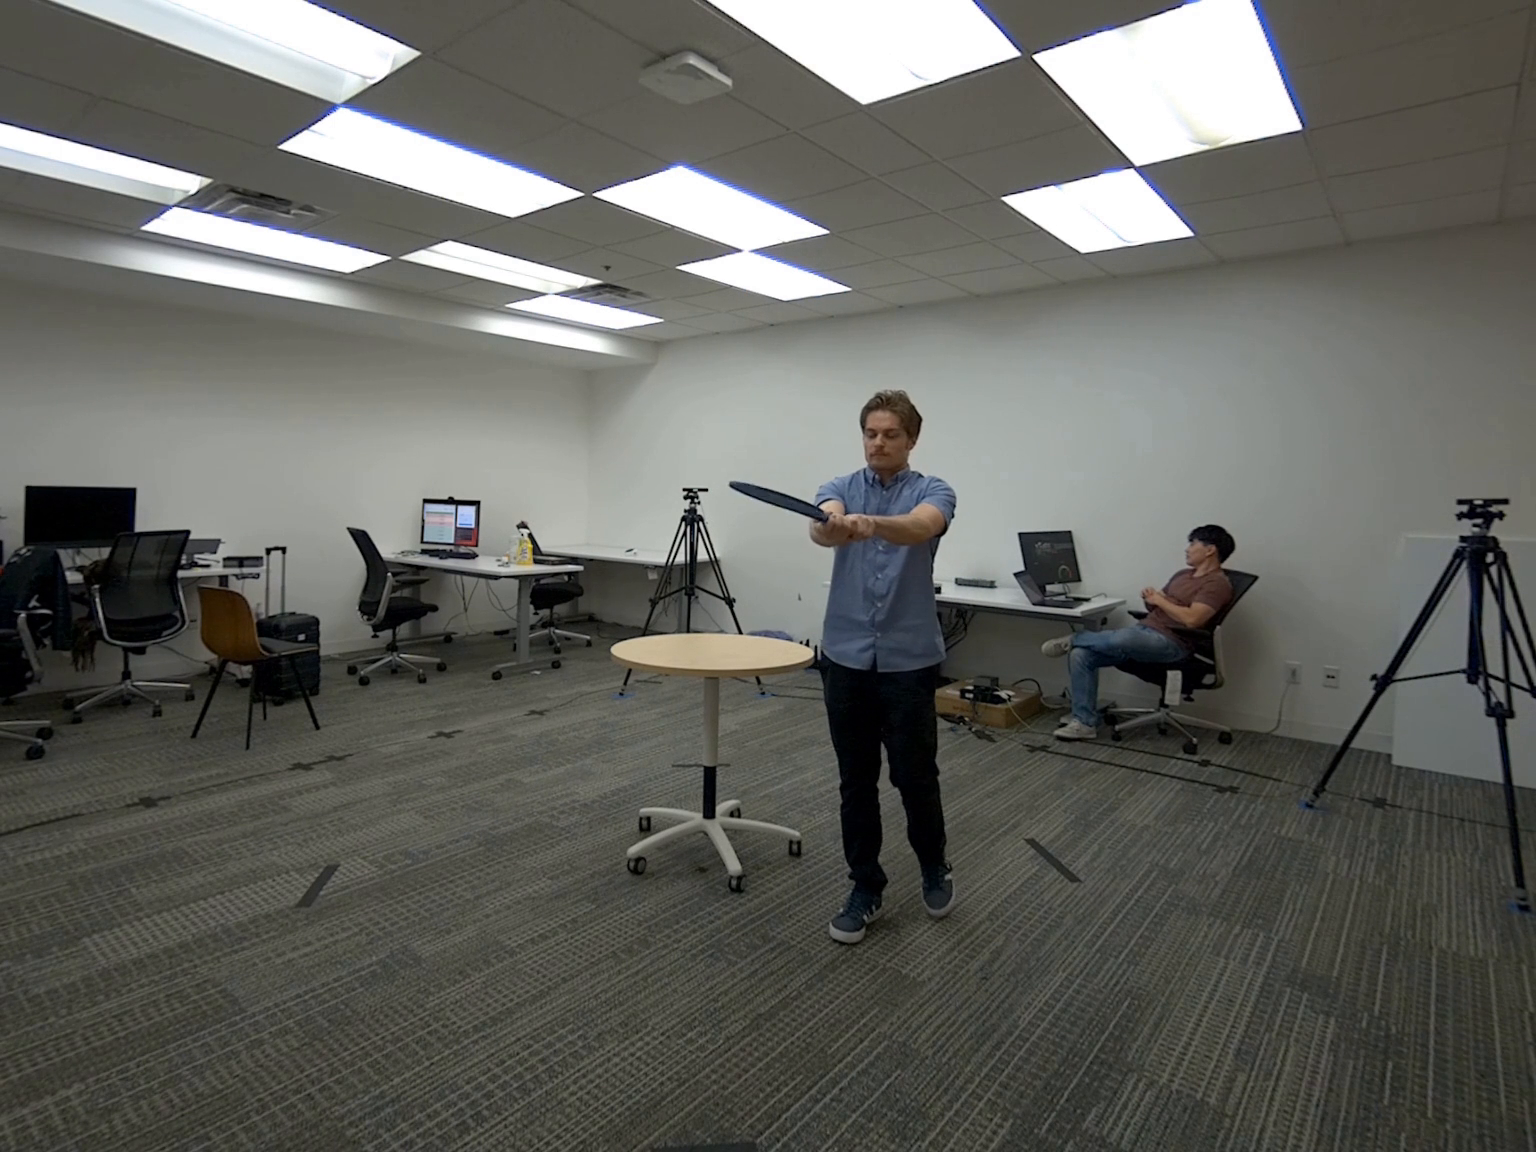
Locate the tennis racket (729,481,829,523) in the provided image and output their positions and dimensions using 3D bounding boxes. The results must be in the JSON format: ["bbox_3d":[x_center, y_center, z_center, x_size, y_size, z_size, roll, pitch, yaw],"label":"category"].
[{"bbox_3d":[0.087,-0.162,2.130,0.417,0.032,0.222,19,0,-36],"label":"tennis racket"}]
